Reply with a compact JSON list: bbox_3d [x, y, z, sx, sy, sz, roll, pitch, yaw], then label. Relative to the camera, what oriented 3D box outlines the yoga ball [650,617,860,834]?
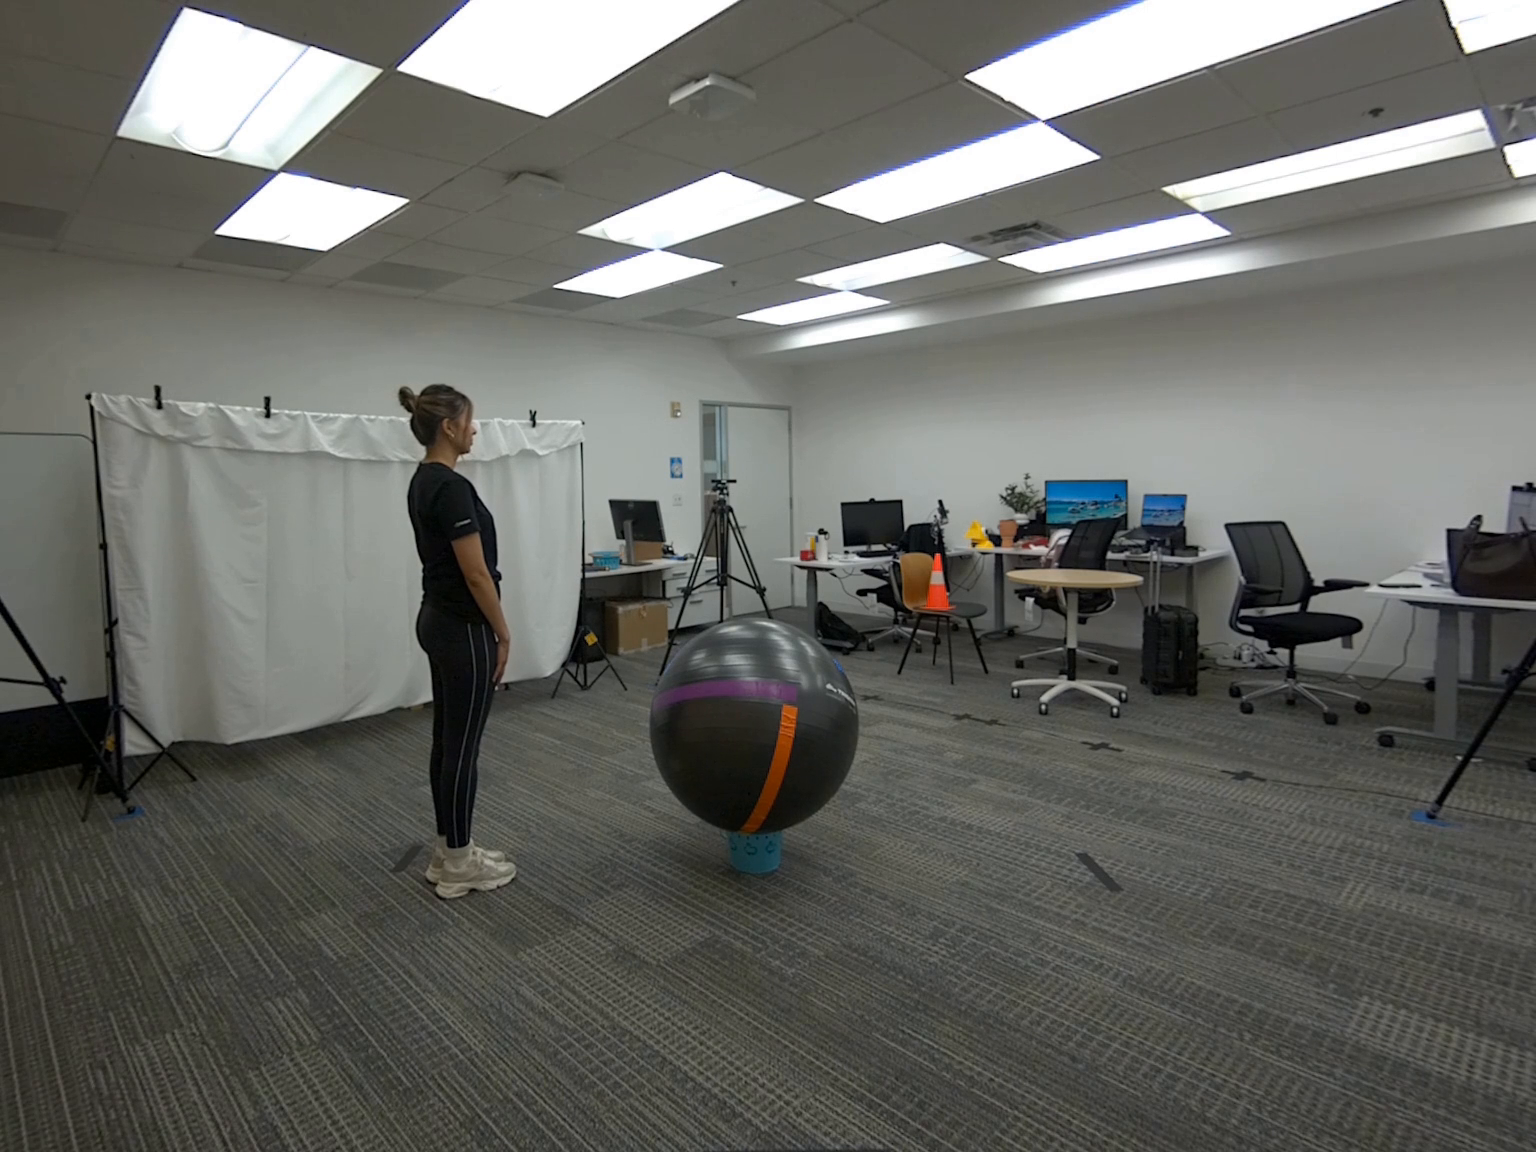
[{"bbox_3d":[-0.049,0.537,3.102,0.757,0.755,0.762,-1,5,-2],"label":"yoga ball"}]
